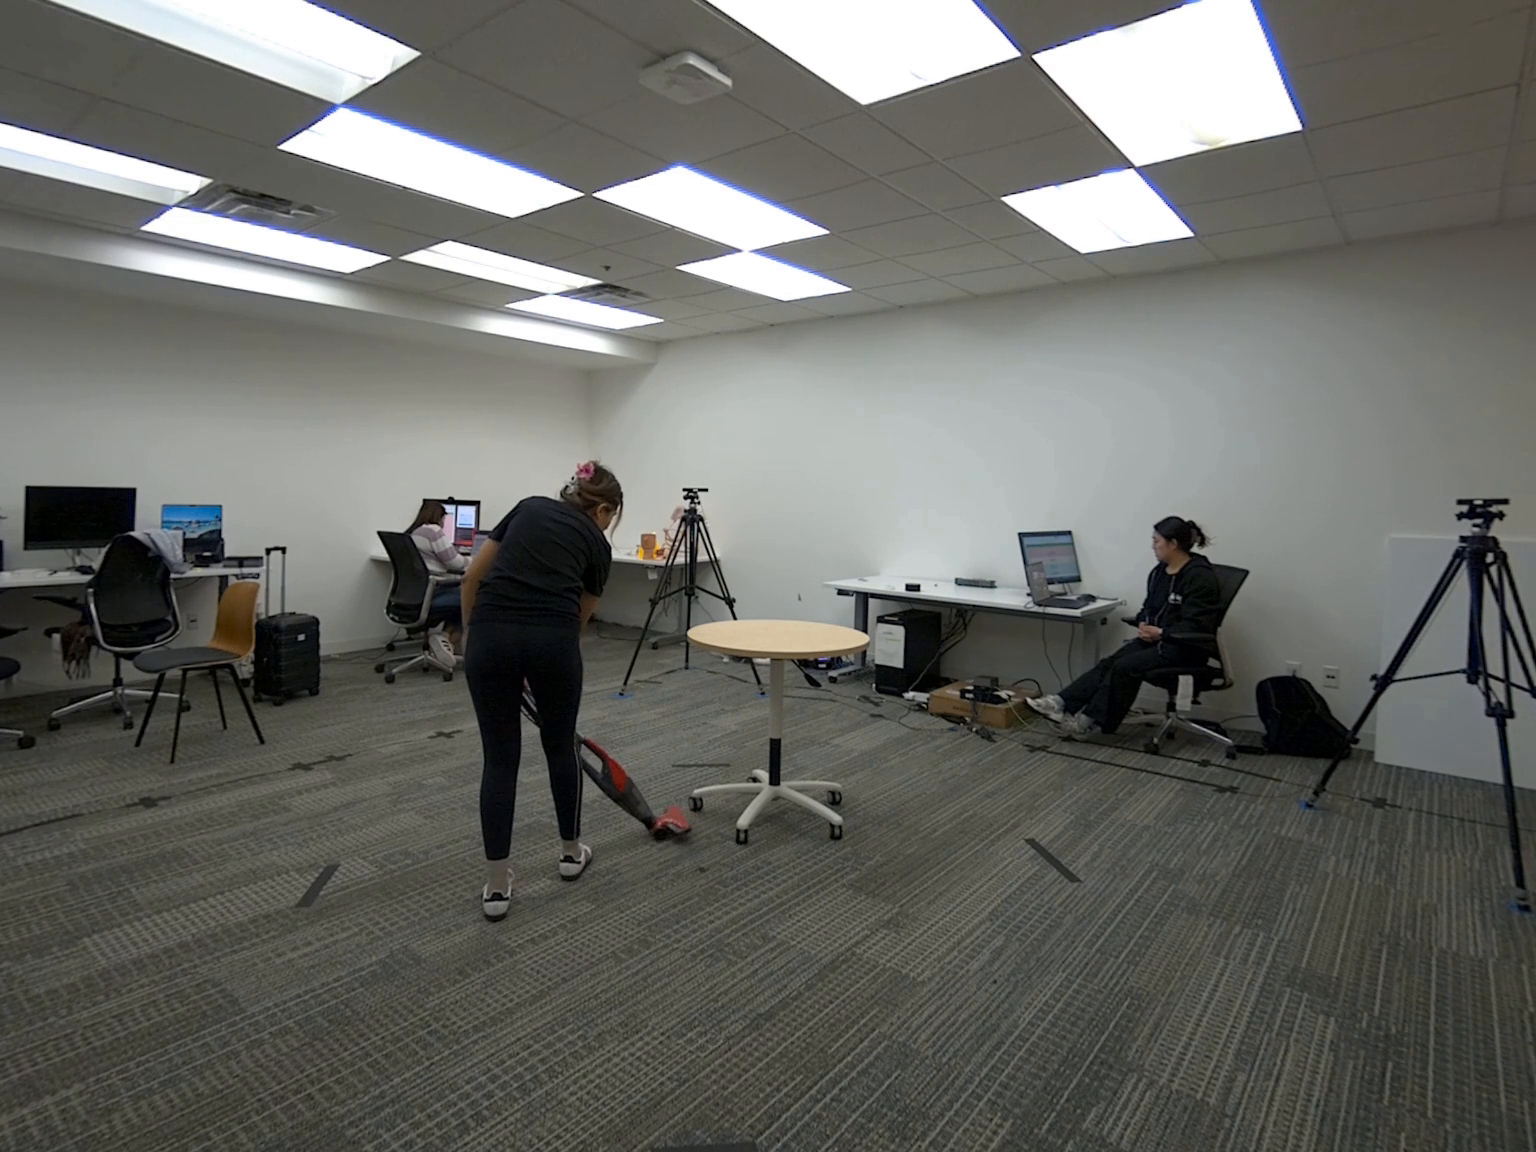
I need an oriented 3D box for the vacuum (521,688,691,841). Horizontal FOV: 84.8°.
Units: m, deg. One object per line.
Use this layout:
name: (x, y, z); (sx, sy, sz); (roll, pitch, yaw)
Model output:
vacuum: (-0.764, 0.669, 3.311); (1.029, 0.144, 0.257); (43, -8, -14)
